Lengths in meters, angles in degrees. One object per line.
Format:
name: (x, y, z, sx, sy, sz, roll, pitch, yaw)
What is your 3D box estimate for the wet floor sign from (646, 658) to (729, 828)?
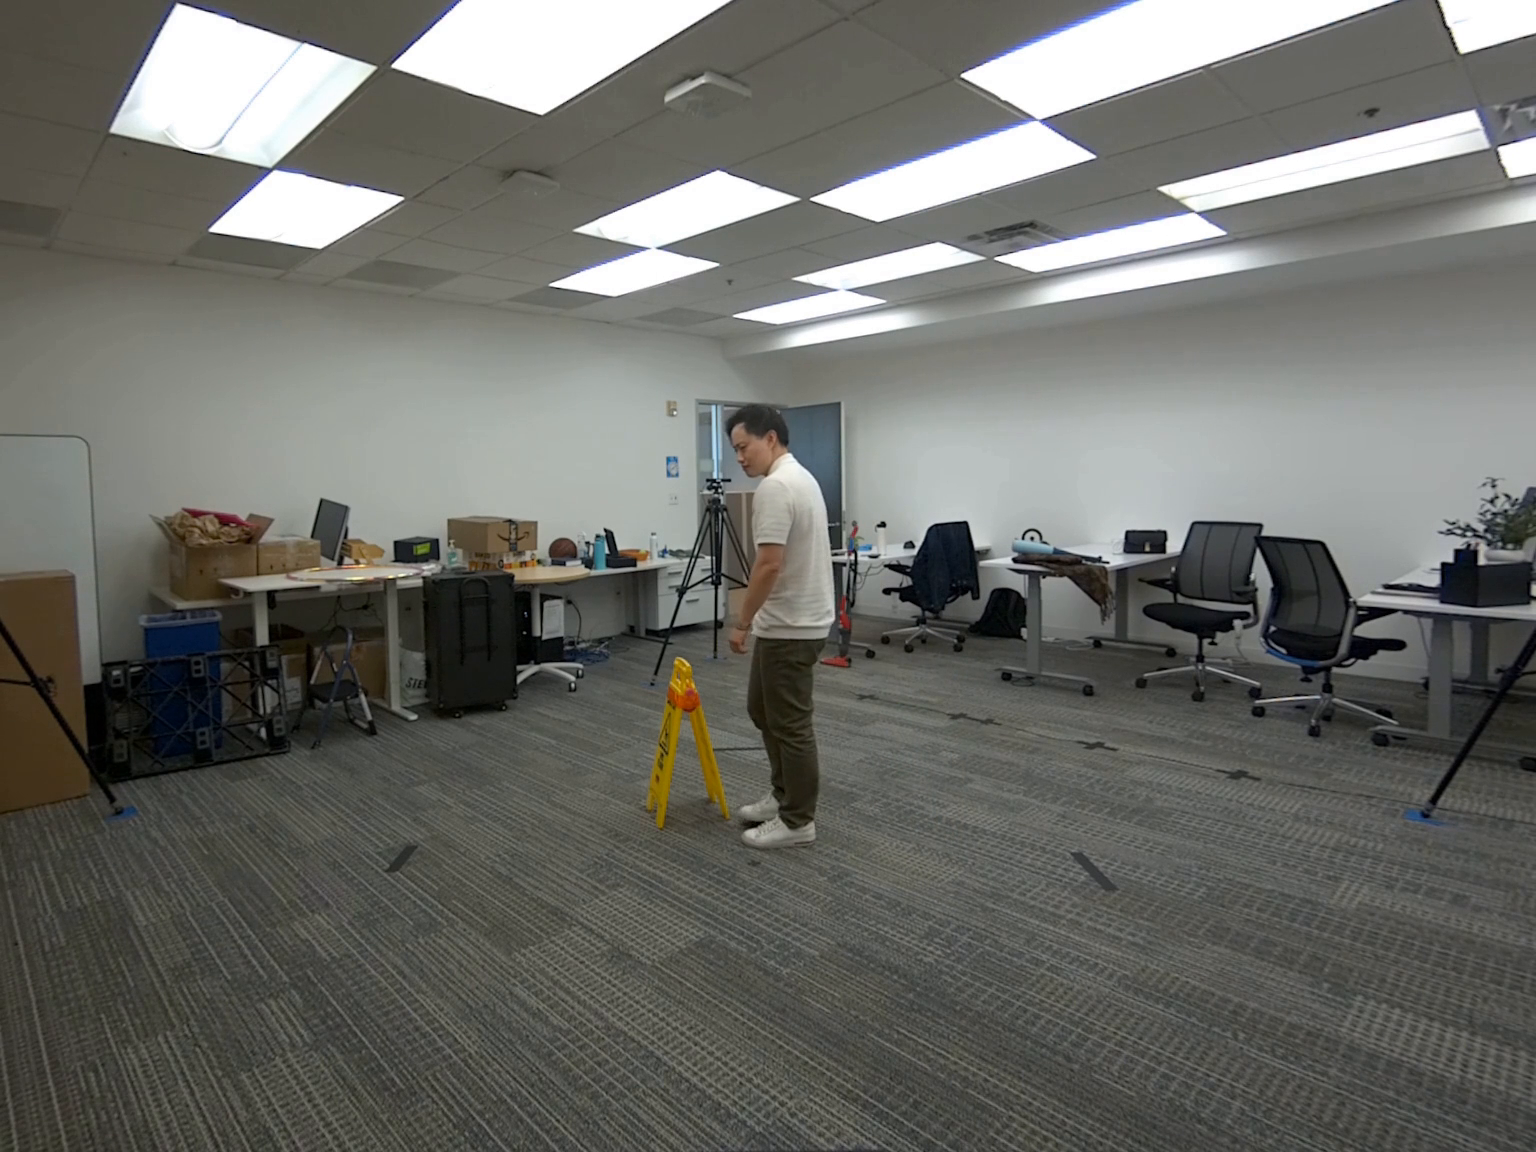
wet floor sign: (-0.352, 0.673, 3.574, 0.285, 0.644, 0.287, -2, 3, -18)
